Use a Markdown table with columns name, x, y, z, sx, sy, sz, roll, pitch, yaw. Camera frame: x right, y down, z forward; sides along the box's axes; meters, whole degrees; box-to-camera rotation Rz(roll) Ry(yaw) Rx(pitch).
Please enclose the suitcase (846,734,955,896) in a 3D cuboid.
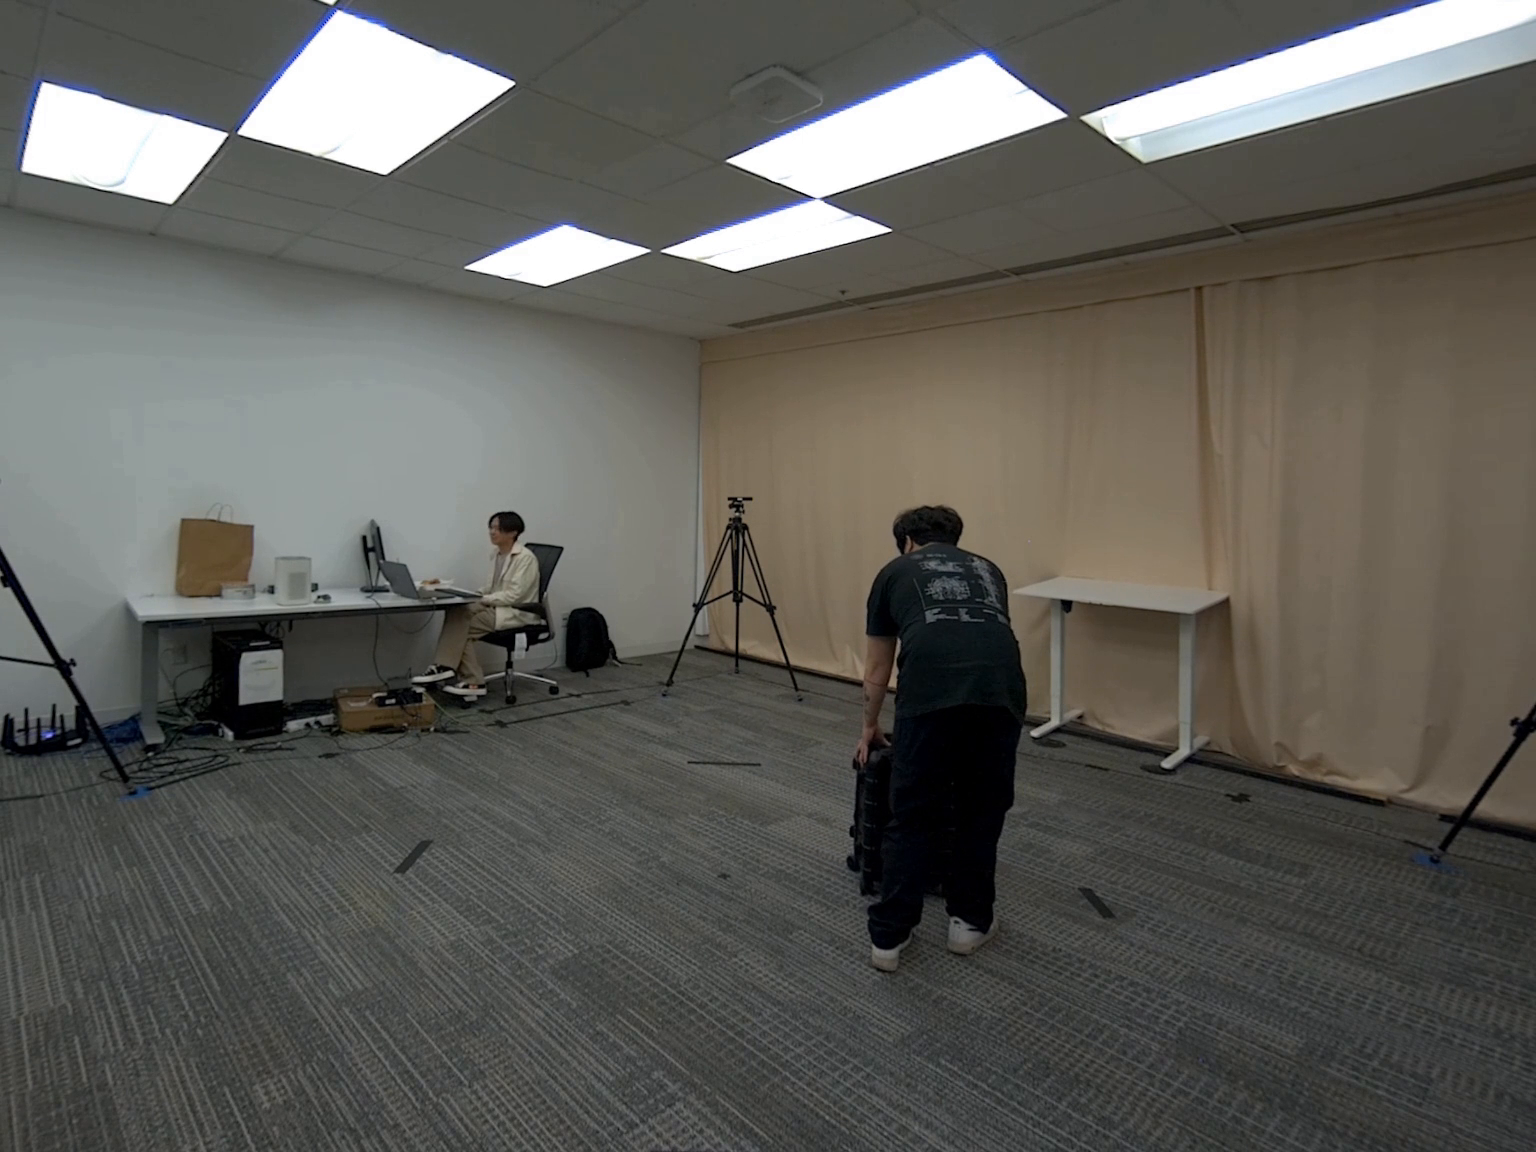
| name | x | y | z | sx | sy | sz | roll | pitch | yaw |
| --- | --- | --- | --- | --- | --- | --- | --- | --- | --- |
| suitcase | 0.498 | 0.851 | 3.049 | 0.375 | 0.547 | 0.249 | 2 | 5 | -1 |
